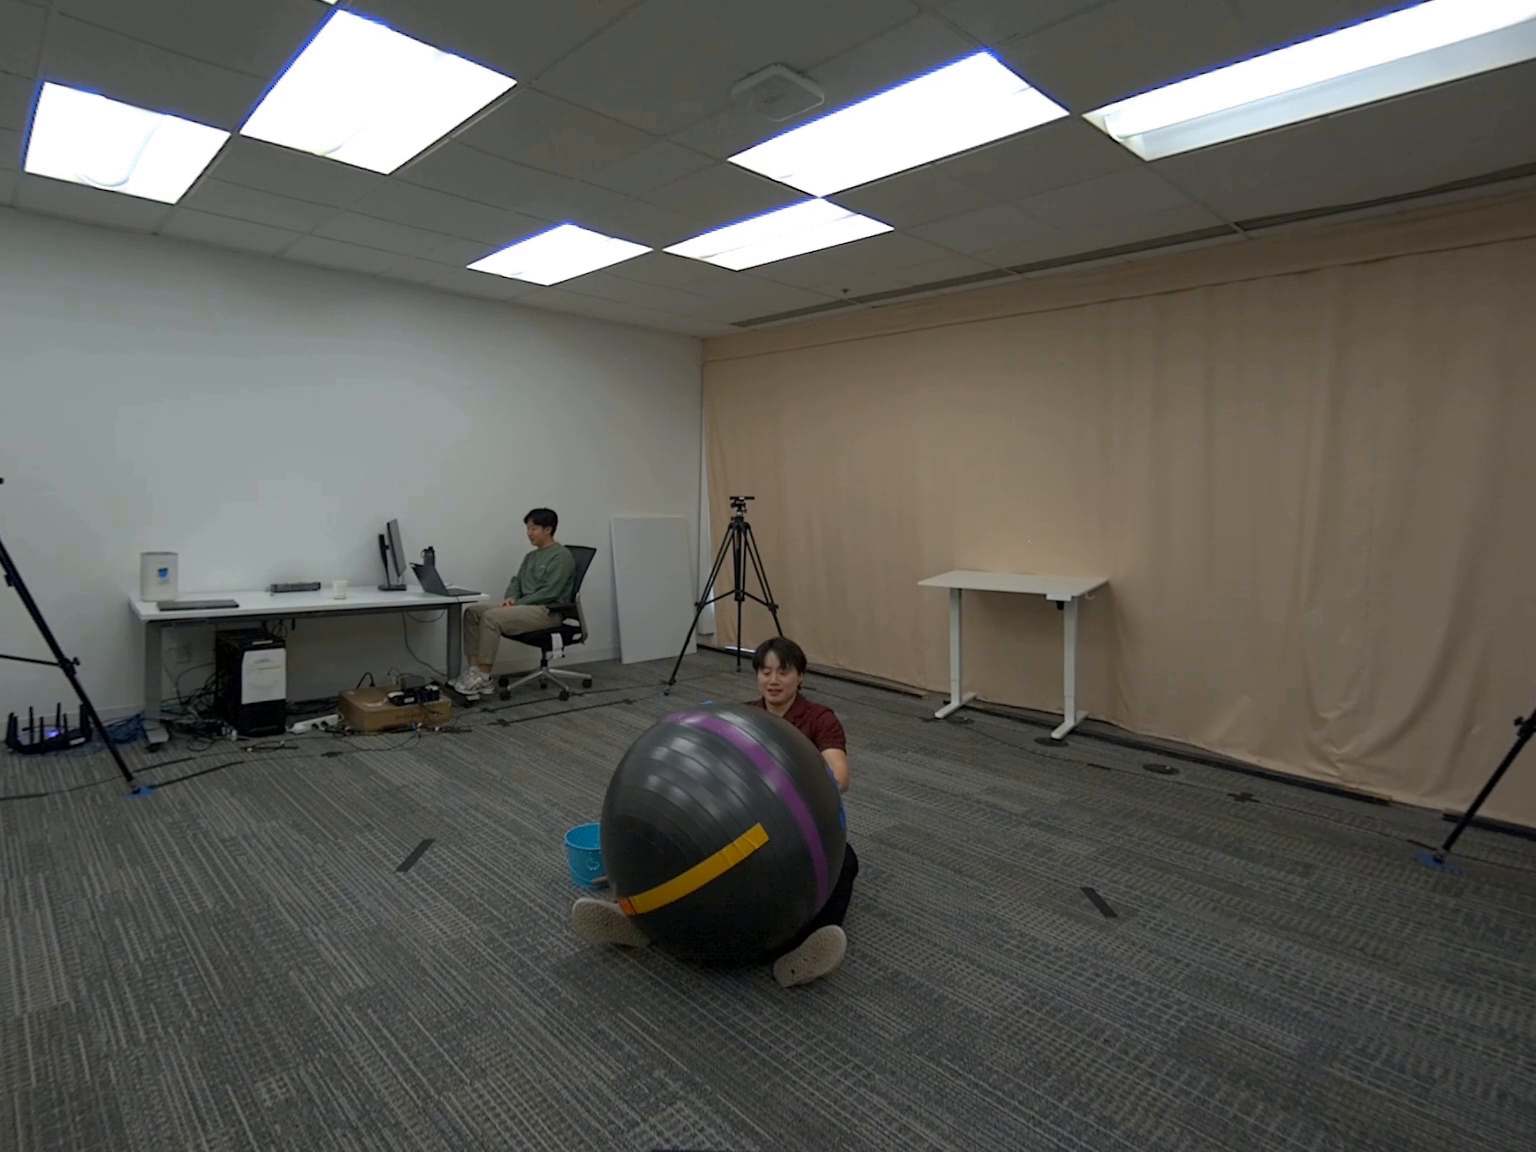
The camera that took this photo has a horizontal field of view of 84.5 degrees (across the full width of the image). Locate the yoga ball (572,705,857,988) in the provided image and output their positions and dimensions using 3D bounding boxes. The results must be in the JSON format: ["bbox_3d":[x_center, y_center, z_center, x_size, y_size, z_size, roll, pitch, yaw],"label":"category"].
[{"bbox_3d":[-0.140,0.780,2.600,0.757,0.756,0.761,1,4,-1],"label":"yoga ball"}]
